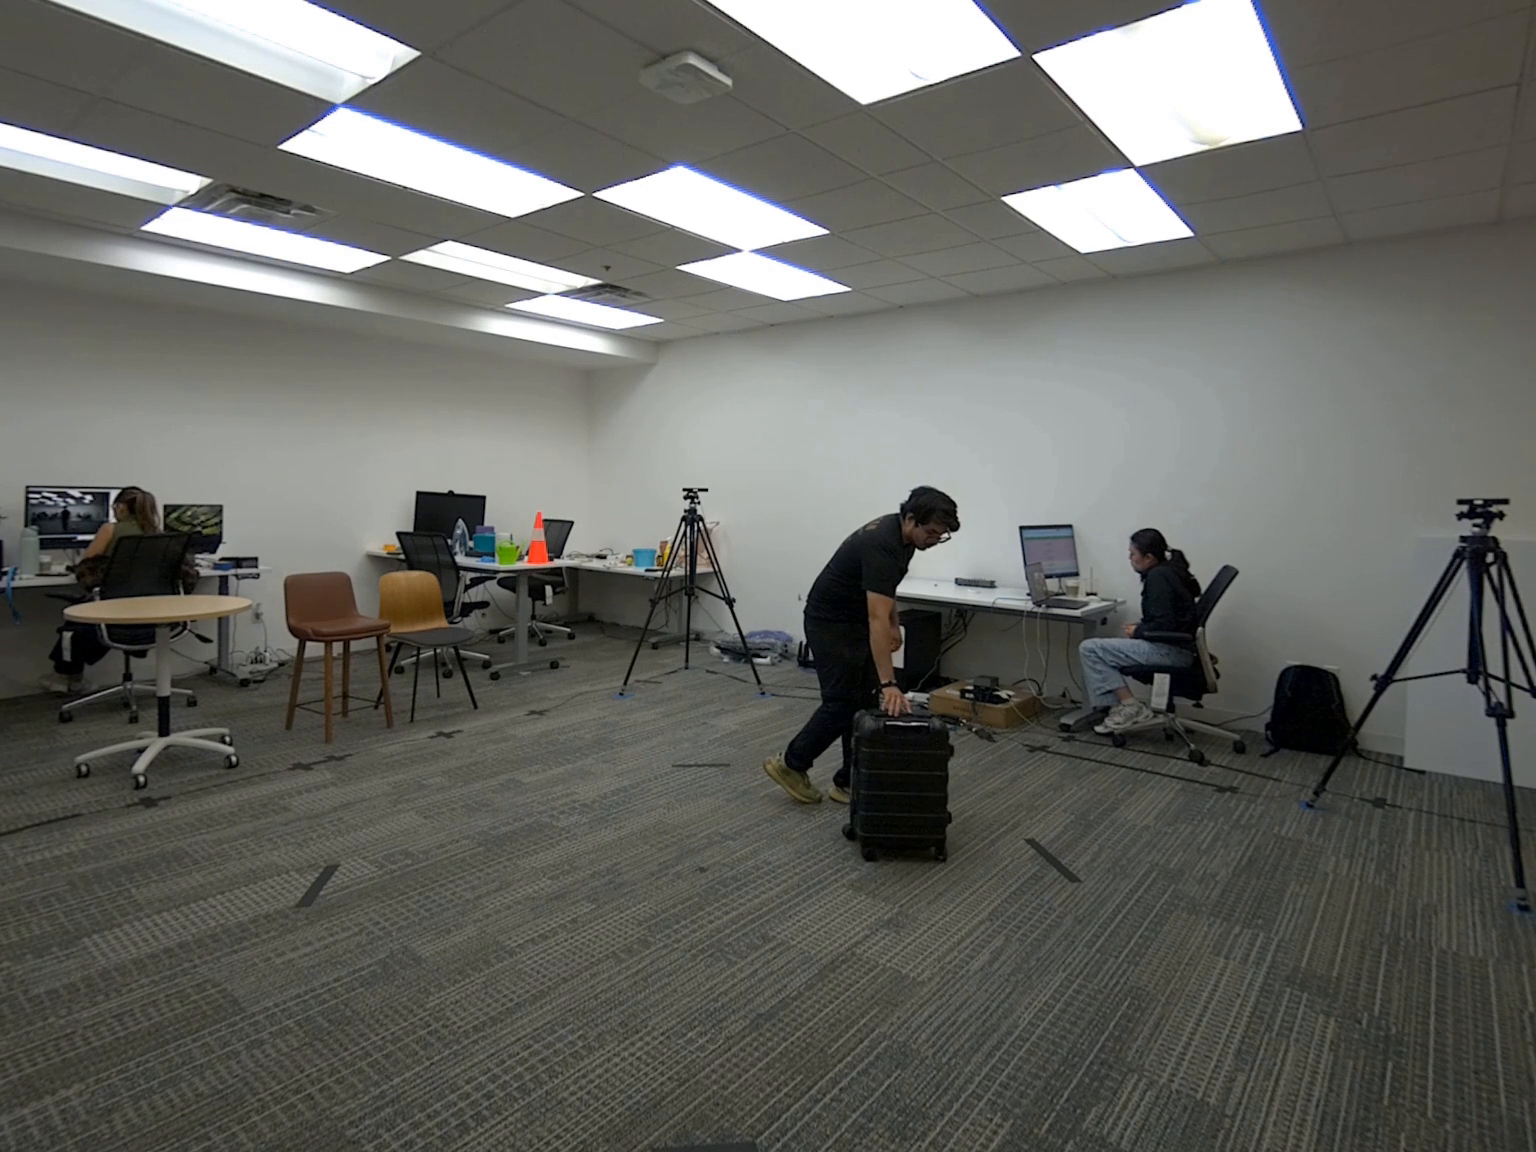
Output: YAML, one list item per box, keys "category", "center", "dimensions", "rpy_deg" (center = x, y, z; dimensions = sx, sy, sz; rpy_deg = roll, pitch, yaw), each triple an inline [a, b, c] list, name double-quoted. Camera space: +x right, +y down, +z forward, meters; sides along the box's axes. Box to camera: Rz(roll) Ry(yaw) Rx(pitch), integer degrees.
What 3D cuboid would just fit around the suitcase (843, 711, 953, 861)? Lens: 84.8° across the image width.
- category: "suitcase"
  center: [0.500, 0.788, 3.317]
  dimensions: [0.375, 0.547, 0.250]
  rpy_deg: [0, 4, -2]
